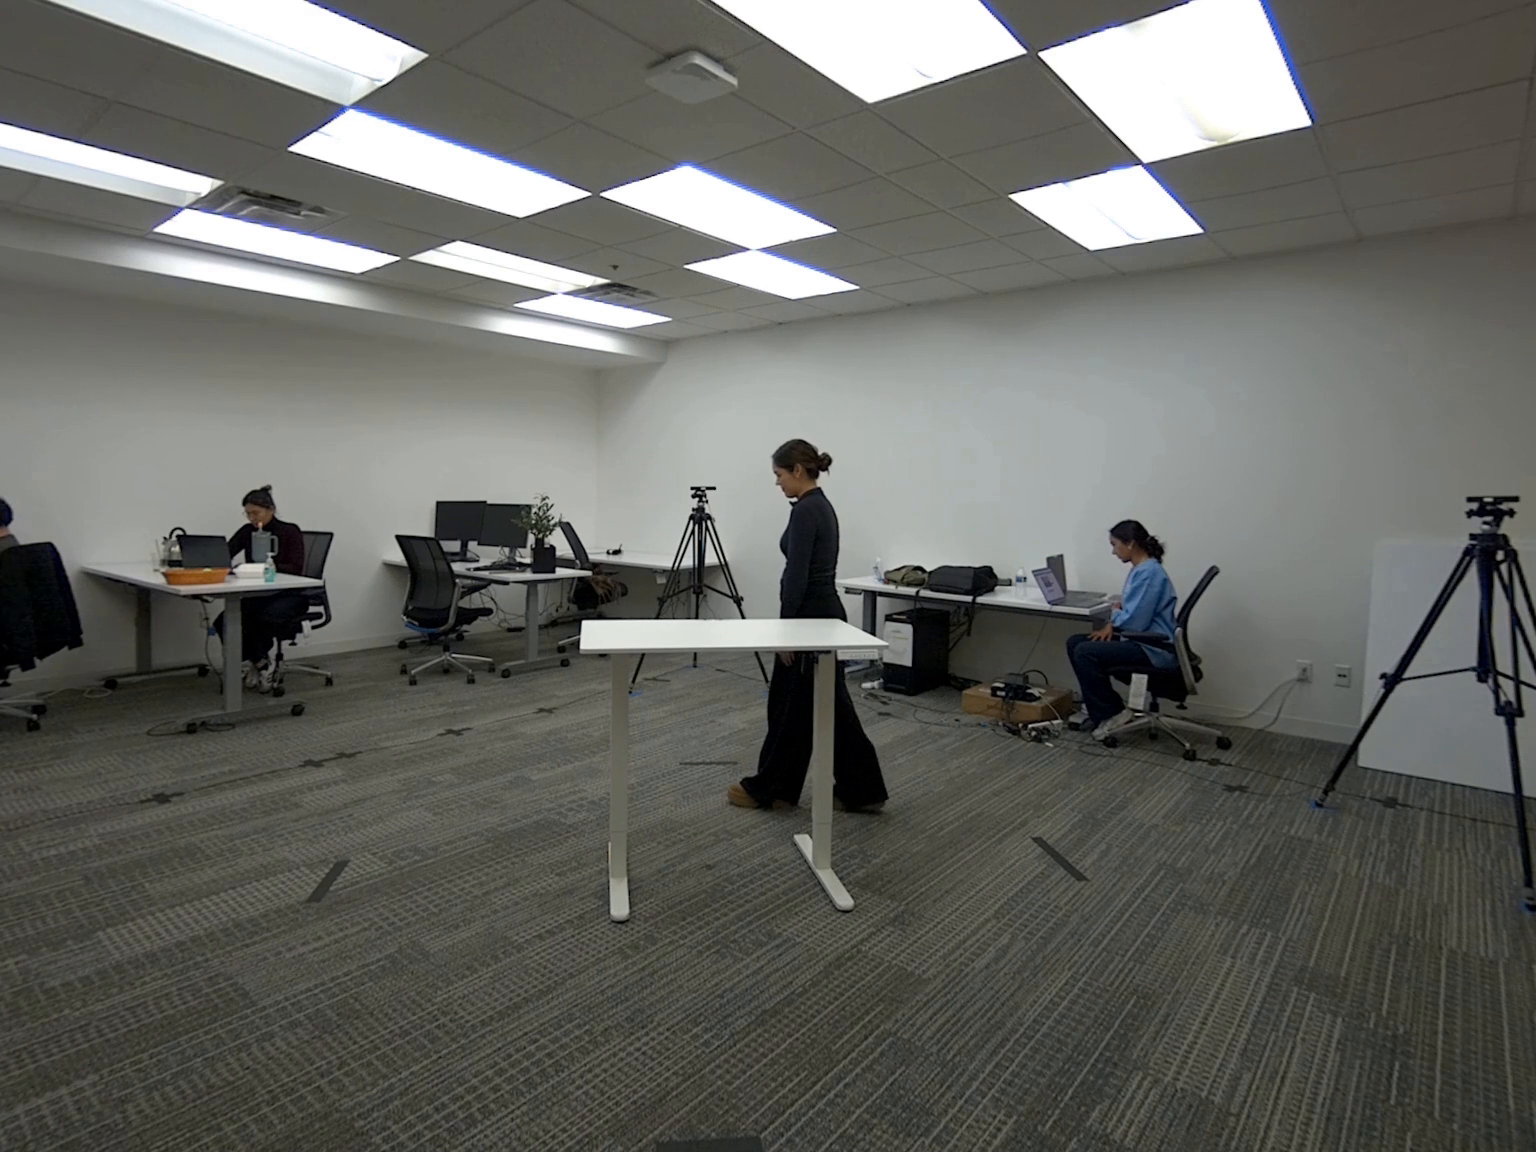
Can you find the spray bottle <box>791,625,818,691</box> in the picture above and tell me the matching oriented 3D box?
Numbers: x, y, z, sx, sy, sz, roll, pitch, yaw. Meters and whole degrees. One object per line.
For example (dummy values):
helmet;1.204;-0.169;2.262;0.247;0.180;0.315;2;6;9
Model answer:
spray bottle;0.170;0.391;4.004;0.085;0.295;0.093;-5;8;-33
